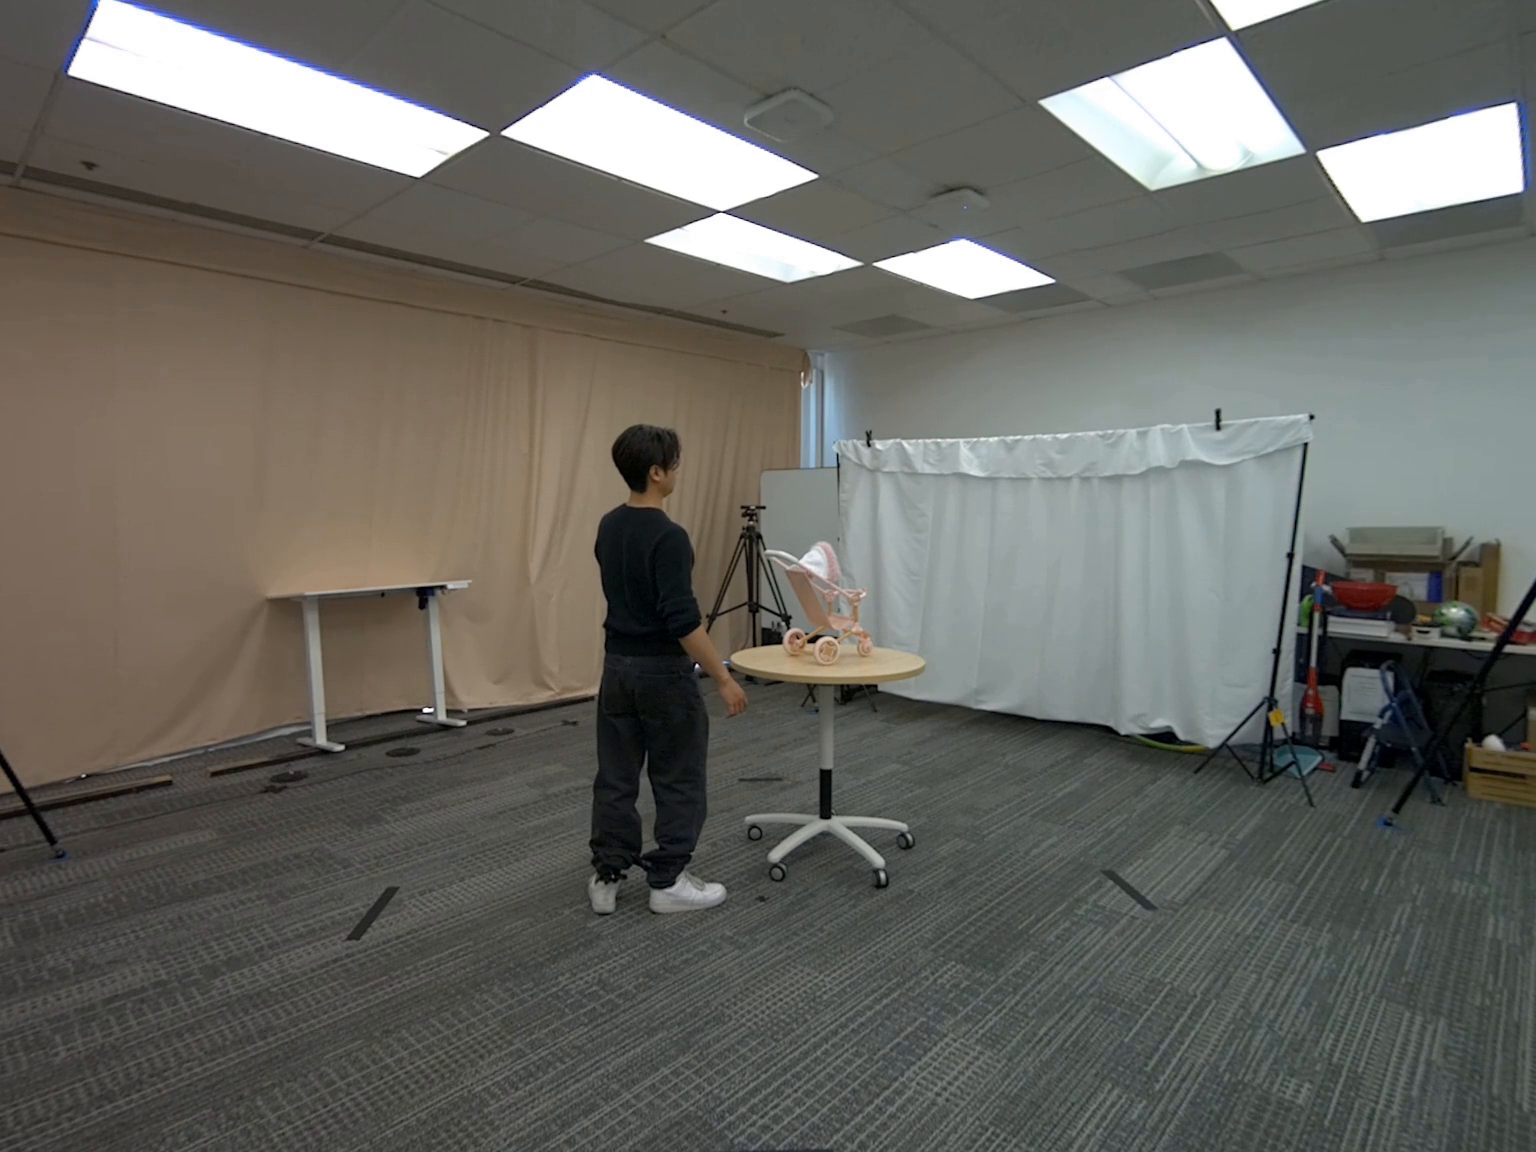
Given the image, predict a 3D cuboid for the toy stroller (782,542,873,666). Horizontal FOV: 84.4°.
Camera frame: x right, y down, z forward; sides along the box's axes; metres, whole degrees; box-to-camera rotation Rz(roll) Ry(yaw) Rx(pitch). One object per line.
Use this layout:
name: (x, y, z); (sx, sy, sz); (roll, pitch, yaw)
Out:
toy stroller: (0.230, 0.106, 3.322); (0.336, 0.531, 0.287); (-18, 8, -18)
